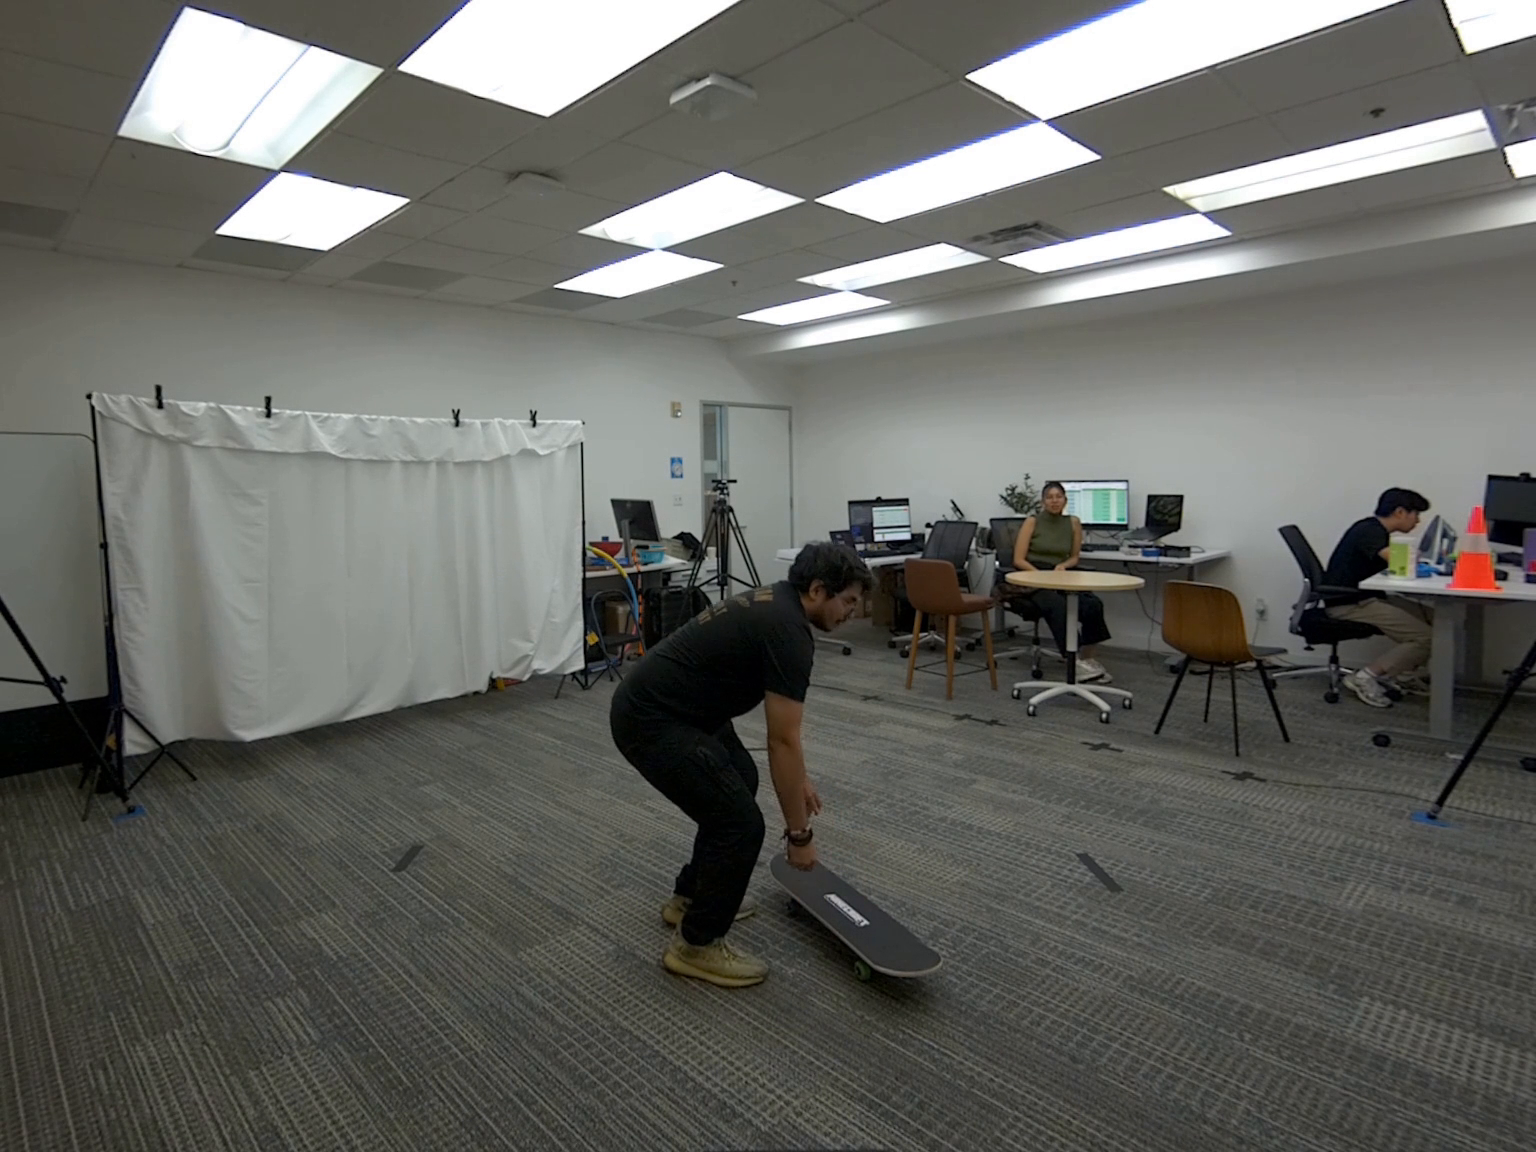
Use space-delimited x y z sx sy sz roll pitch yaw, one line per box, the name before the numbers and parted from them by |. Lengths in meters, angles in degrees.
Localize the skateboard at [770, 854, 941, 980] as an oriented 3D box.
skateboard | 0.241 1.039 2.595 0.189 0.110 0.806 -3 7 -27
